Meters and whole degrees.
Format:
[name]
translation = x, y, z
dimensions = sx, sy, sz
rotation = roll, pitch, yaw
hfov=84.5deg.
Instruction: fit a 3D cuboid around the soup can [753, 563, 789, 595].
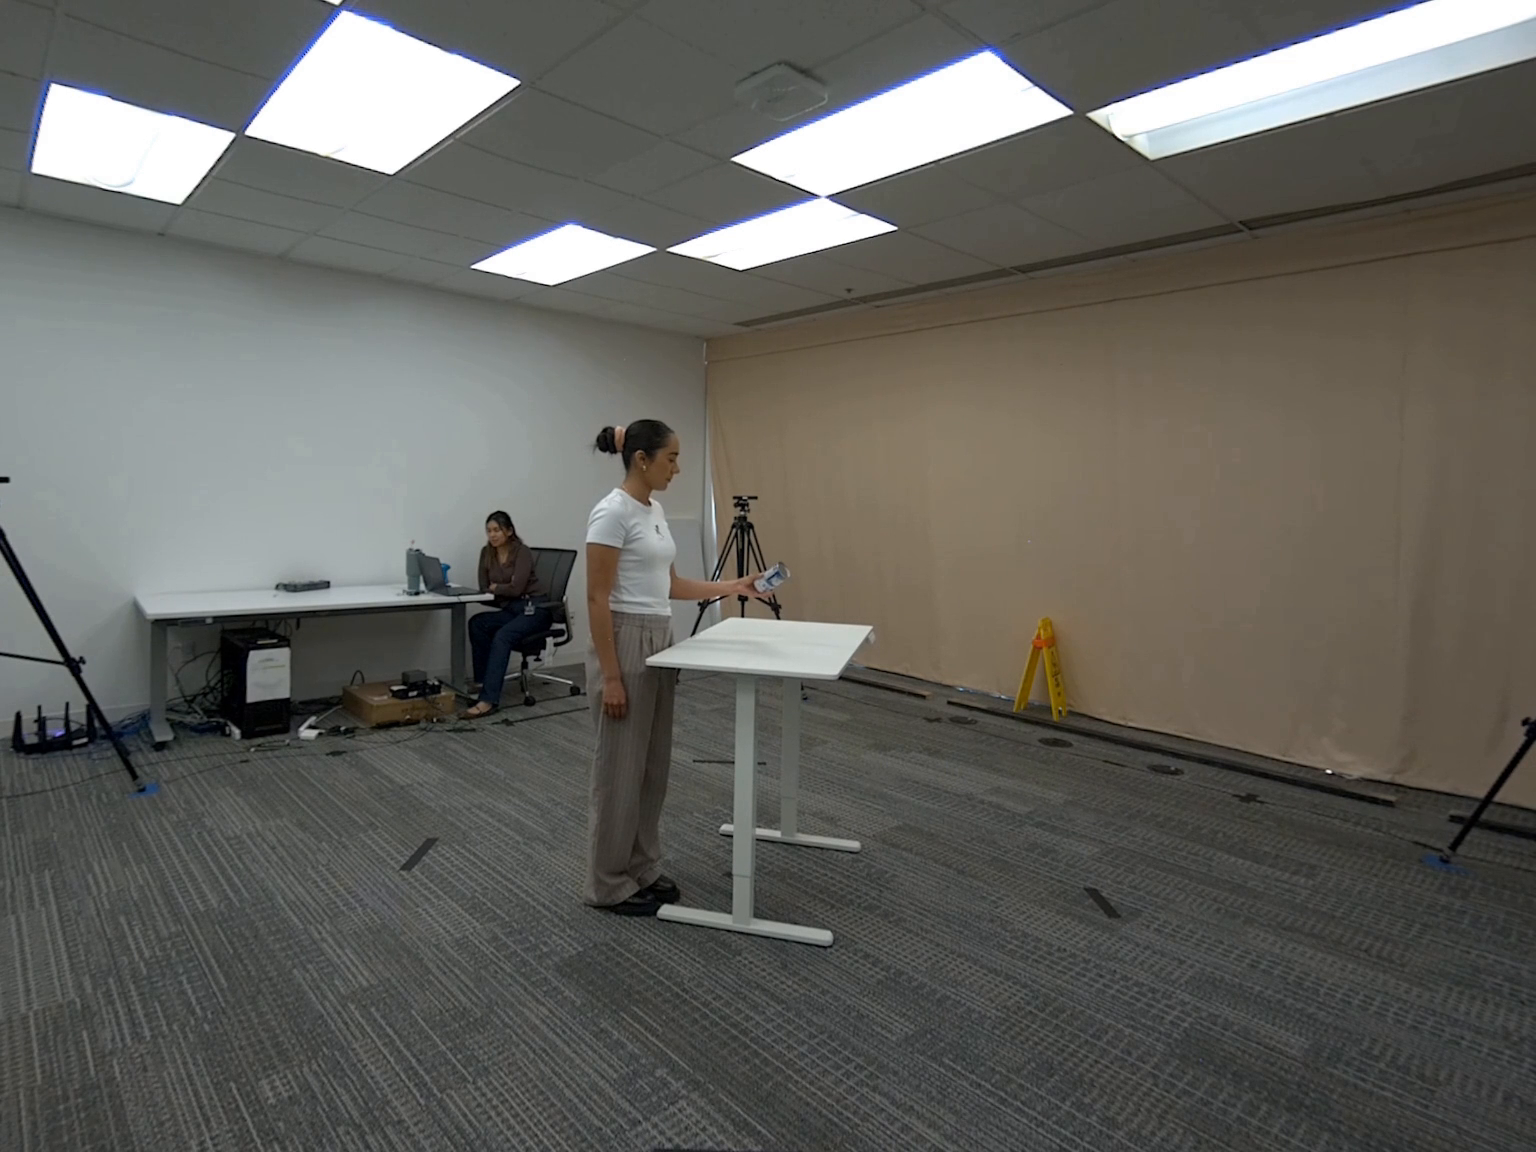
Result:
[soup can]
translation = 0.010, 0.006, 2.952
dimensions = 0.122, 0.068, 0.066
rotation = -35, -12, 23
